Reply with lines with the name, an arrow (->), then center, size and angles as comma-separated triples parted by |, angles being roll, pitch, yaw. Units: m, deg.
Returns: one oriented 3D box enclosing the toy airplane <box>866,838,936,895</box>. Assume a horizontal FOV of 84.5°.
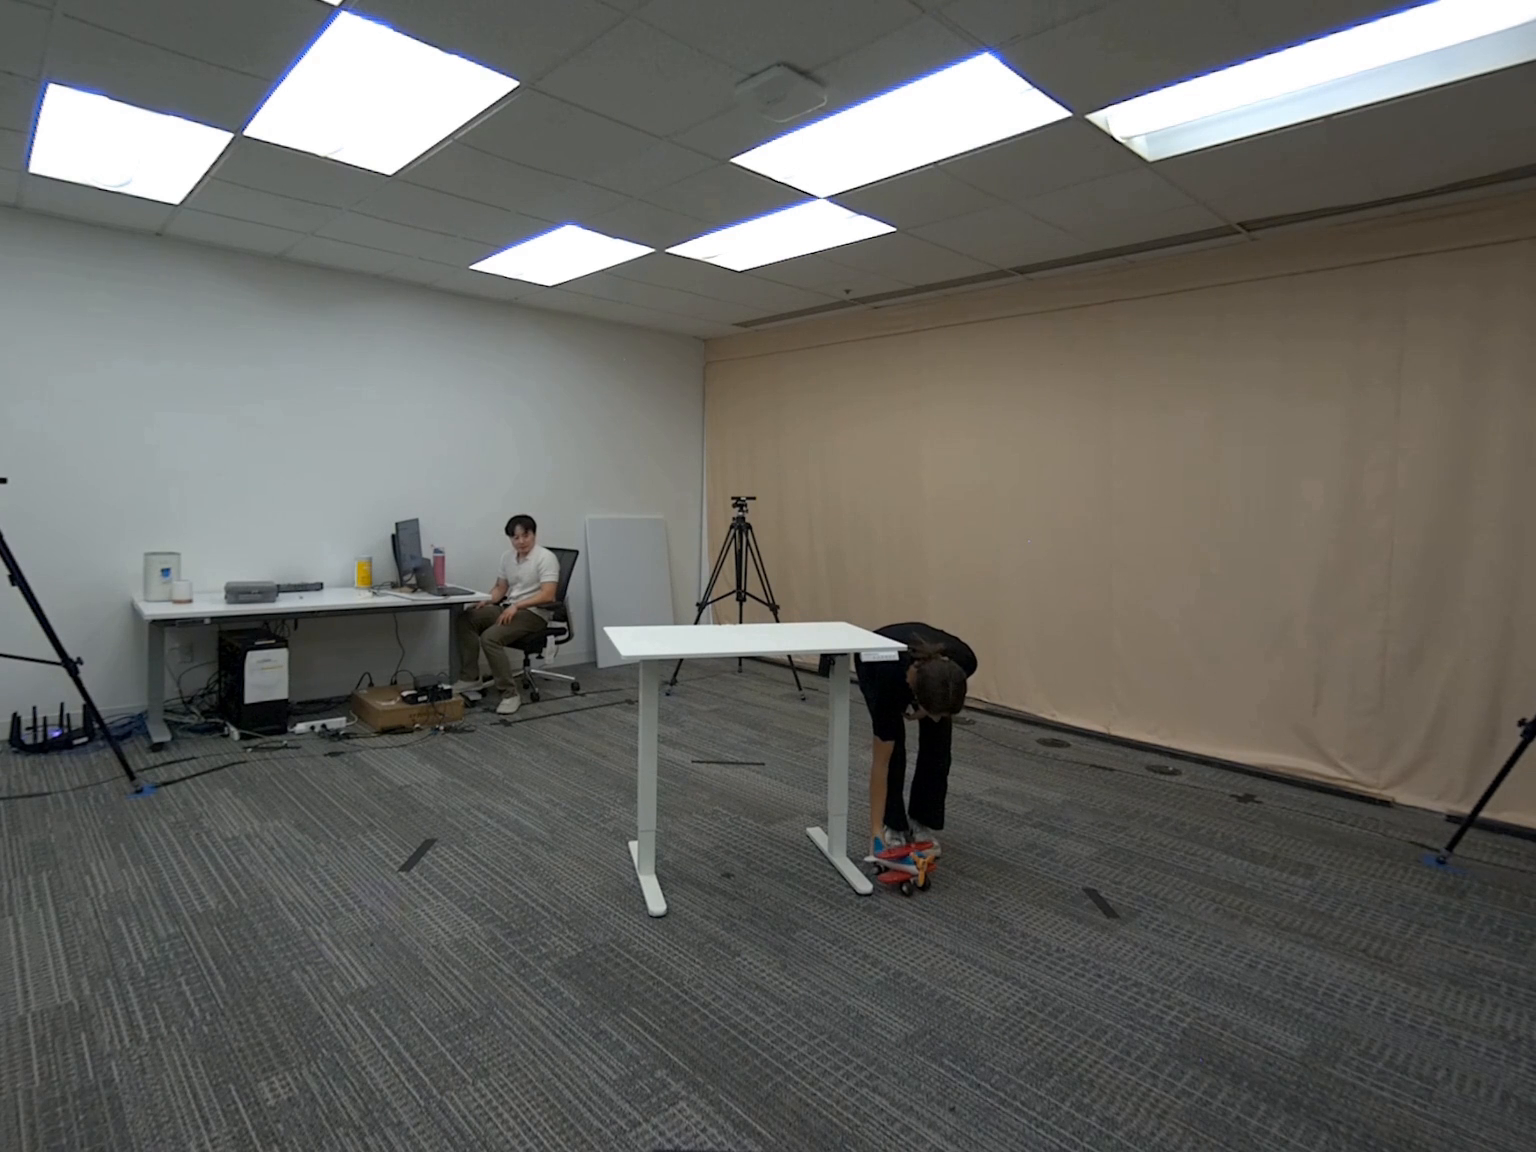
toy airplane -> 0.449, 1.049, 3.062 | 0.265, 0.156, 0.247 | 6, 7, 27
